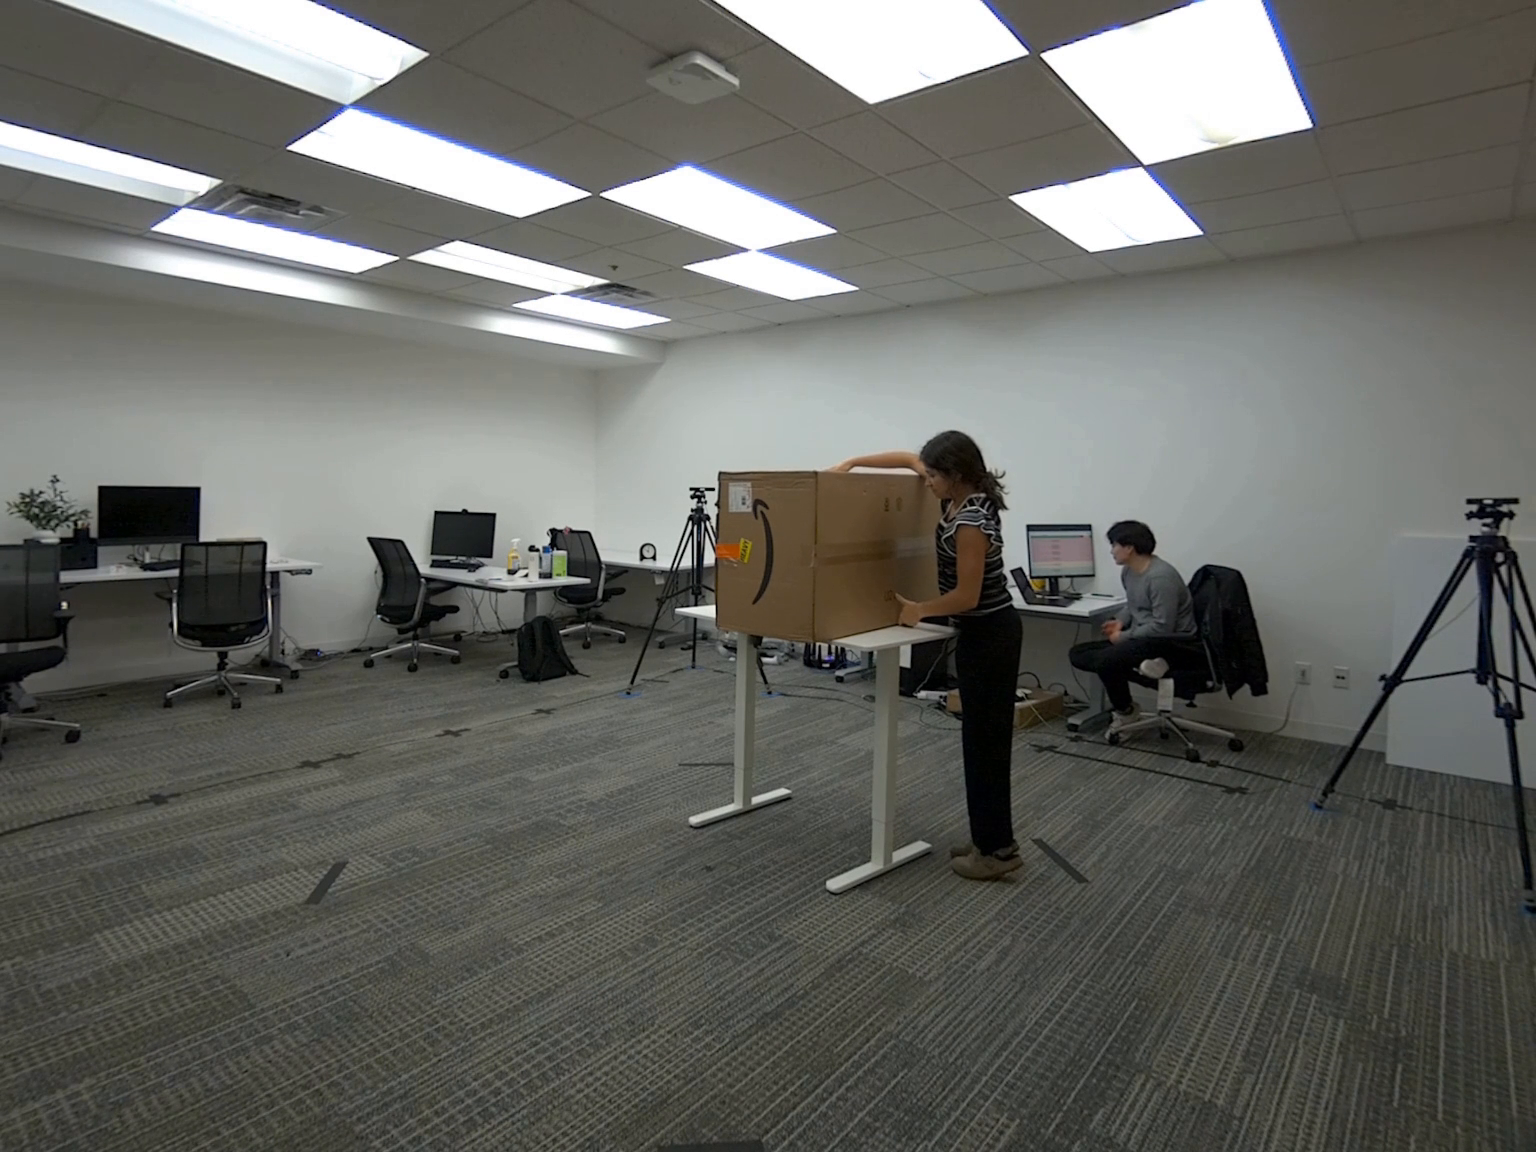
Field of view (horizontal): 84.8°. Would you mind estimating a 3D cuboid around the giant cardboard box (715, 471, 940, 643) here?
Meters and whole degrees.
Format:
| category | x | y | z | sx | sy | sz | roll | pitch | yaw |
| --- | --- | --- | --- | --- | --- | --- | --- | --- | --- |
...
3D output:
| category | x | y | z | sx | sy | sz | roll | pitch | yaw |
| --- | --- | --- | --- | --- | --- | --- | --- | --- | --- |
| giant cardboard box | 0.271 | -0.116 | 3.312 | 0.440 | 0.575 | 0.996 | 3 | 6 | 38 |
